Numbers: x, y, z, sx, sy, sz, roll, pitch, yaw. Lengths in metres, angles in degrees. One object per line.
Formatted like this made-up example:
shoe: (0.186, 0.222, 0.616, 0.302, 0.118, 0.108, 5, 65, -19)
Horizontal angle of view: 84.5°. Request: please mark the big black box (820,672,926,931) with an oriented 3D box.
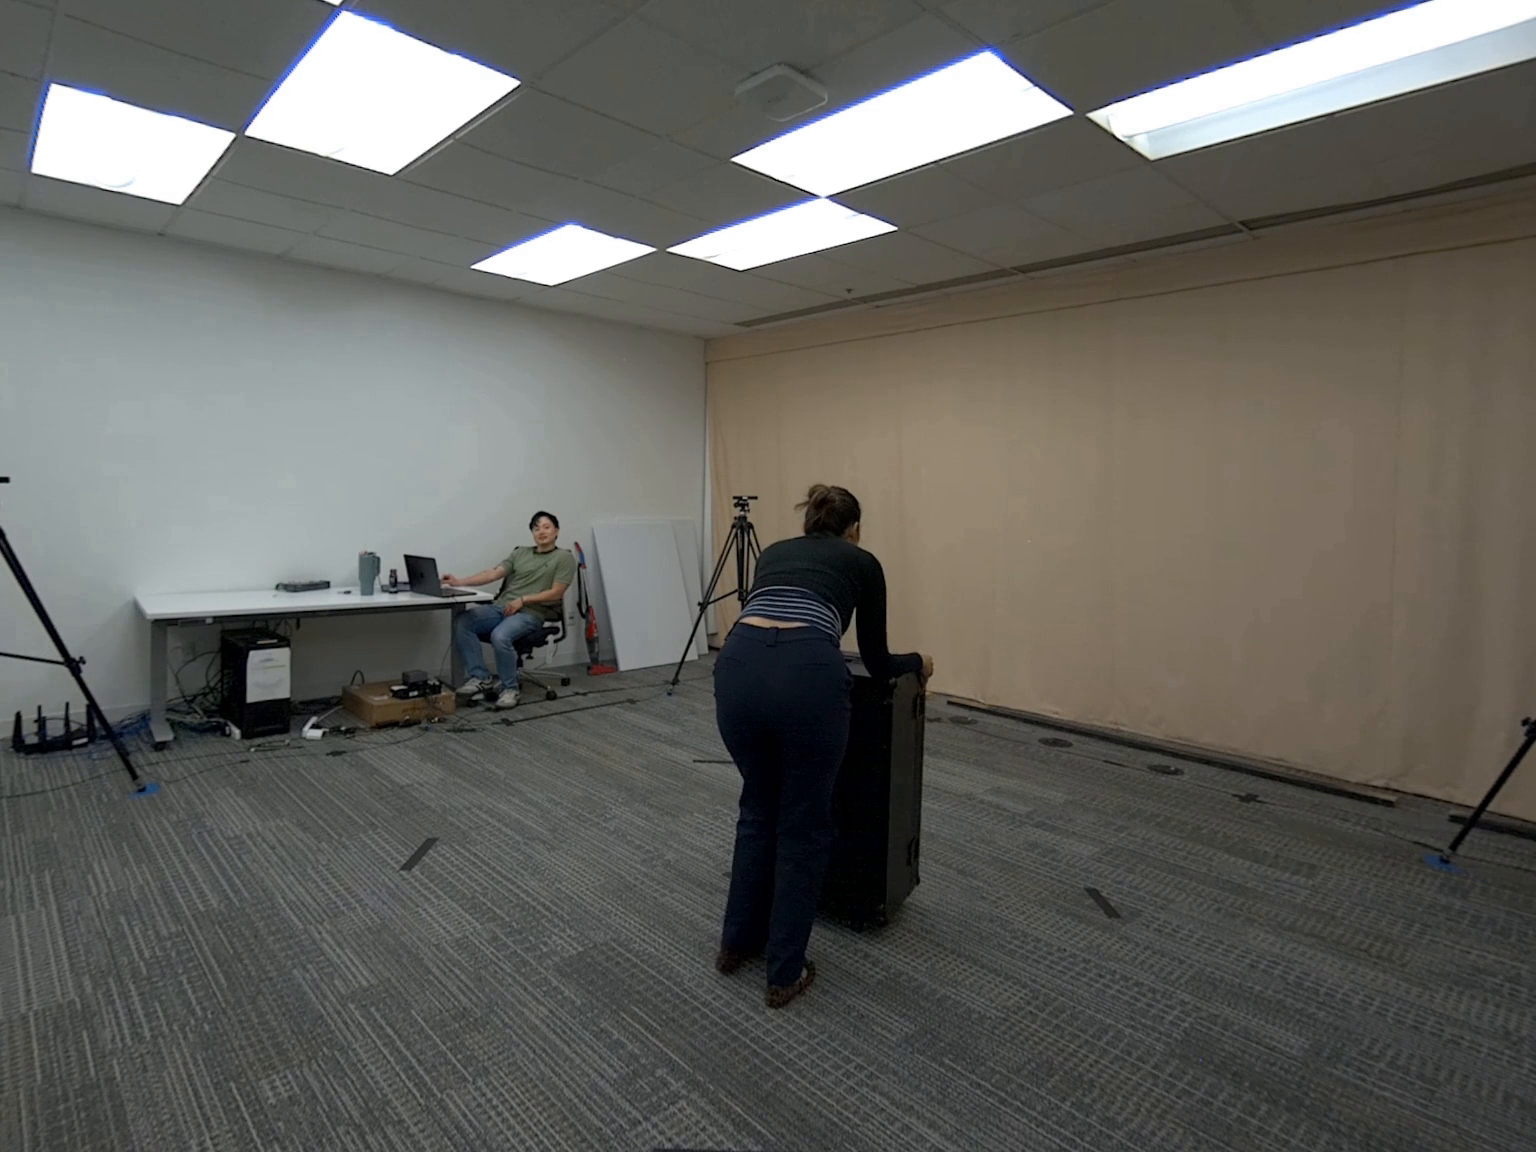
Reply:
big black box: (0.236, 0.711, 2.845, 0.532, 0.858, 0.389, 4, 6, 29)
